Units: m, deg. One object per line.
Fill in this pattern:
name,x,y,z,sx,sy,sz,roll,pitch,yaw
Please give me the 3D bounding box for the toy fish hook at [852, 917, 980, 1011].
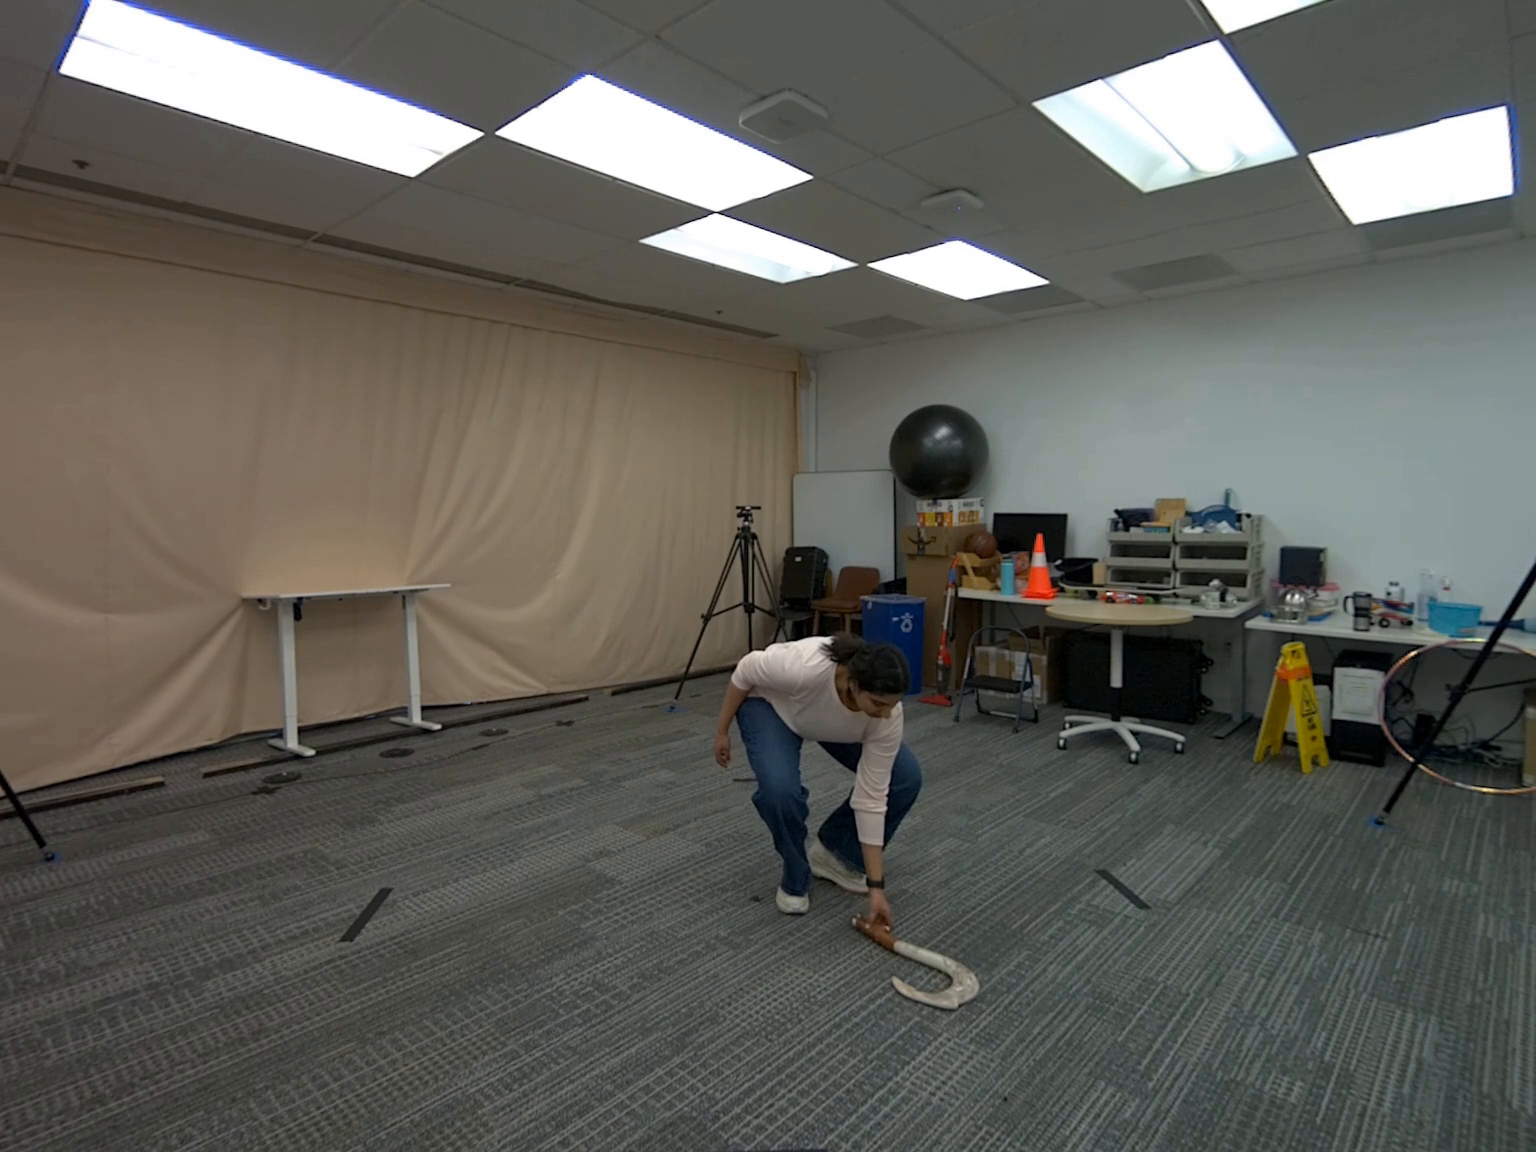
toy fish hook,0.402,1.153,2.550,0.218,0.048,0.523,-4,6,-35
